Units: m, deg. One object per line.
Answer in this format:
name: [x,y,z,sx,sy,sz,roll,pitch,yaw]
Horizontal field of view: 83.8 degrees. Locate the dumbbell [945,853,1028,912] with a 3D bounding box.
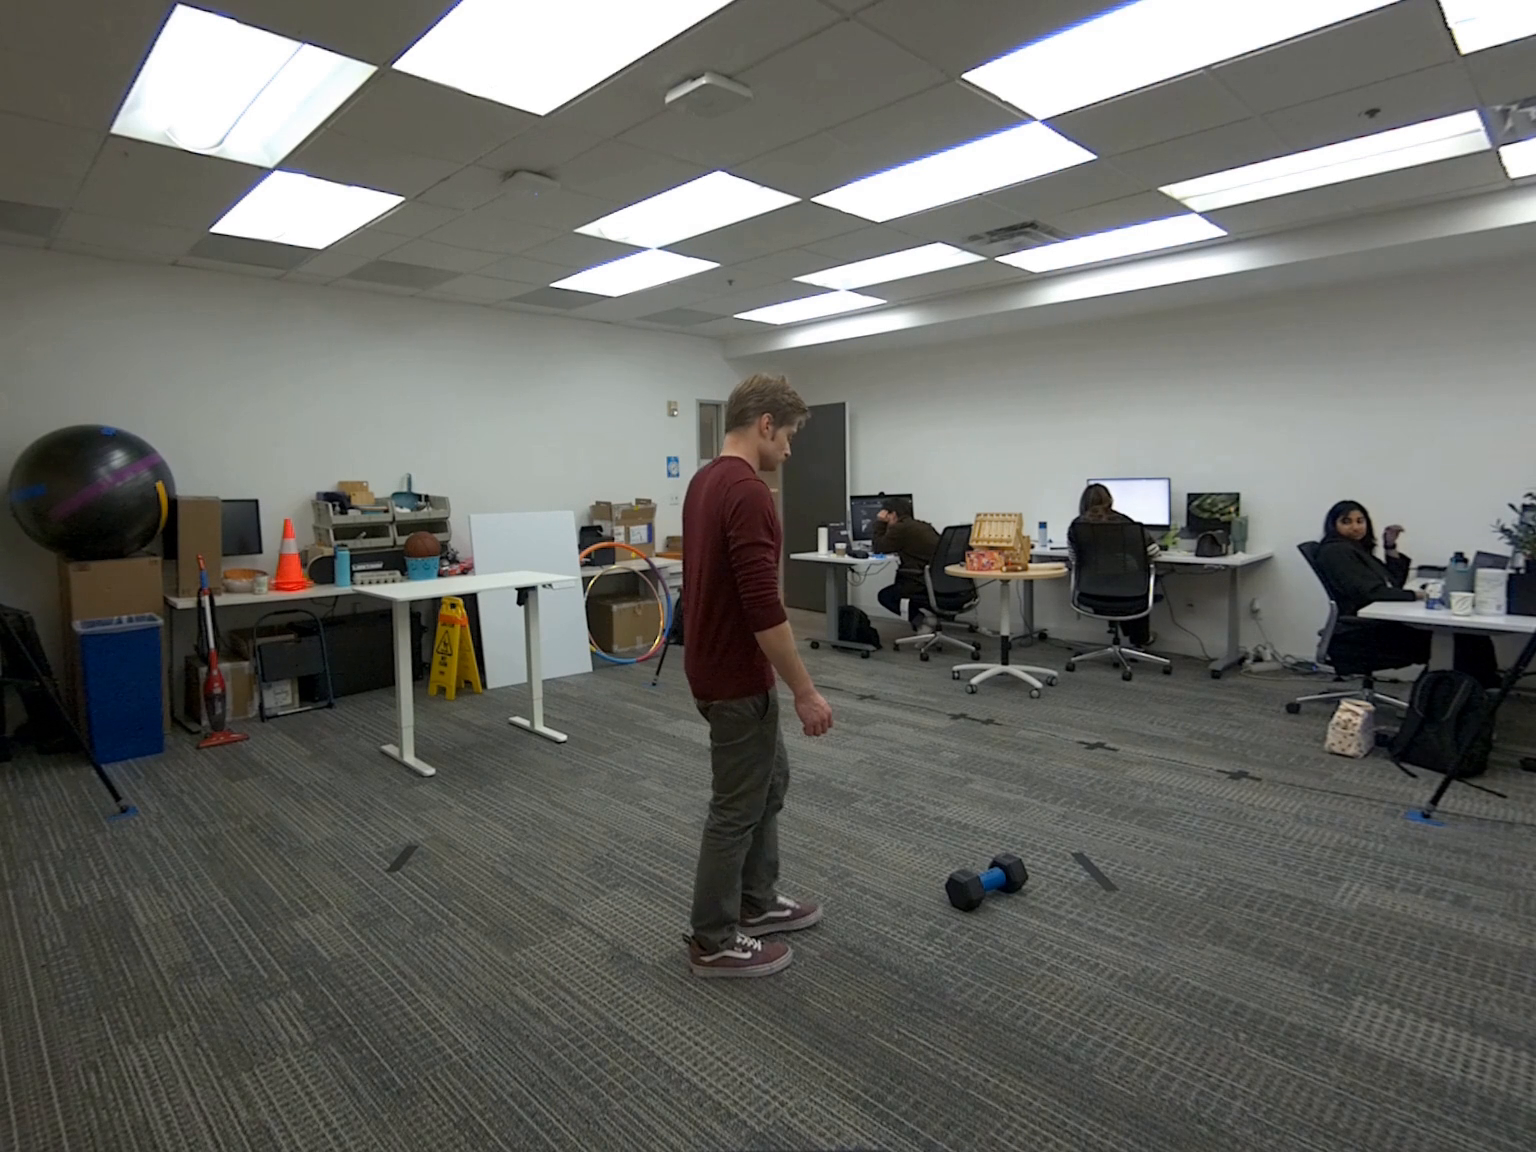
dumbbell: [0.732,1.012,2.821,0.286,0.121,0.113,-5,37,-34]
